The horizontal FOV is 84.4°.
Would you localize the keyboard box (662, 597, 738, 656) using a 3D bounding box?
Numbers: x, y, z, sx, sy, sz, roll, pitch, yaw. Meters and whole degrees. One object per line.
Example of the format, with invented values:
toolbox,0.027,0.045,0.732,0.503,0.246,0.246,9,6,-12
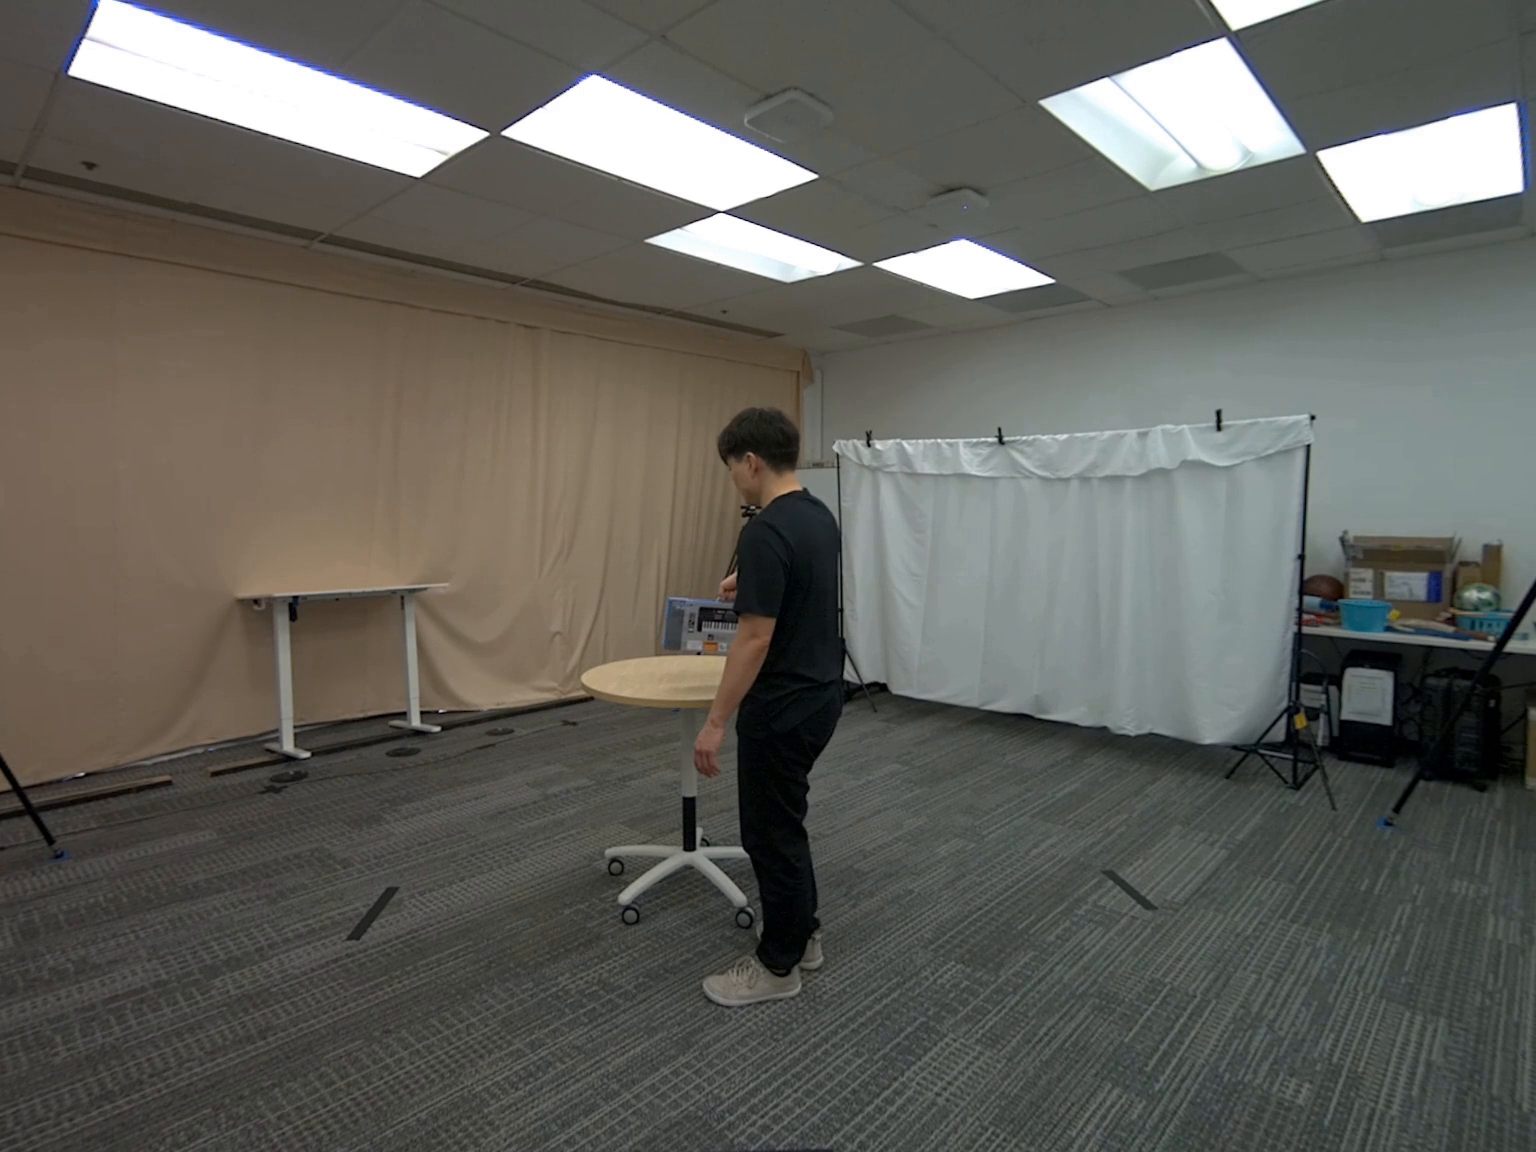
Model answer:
keyboard box,-0.136,0.180,2.868,0.430,0.175,0.060,5,4,-14
